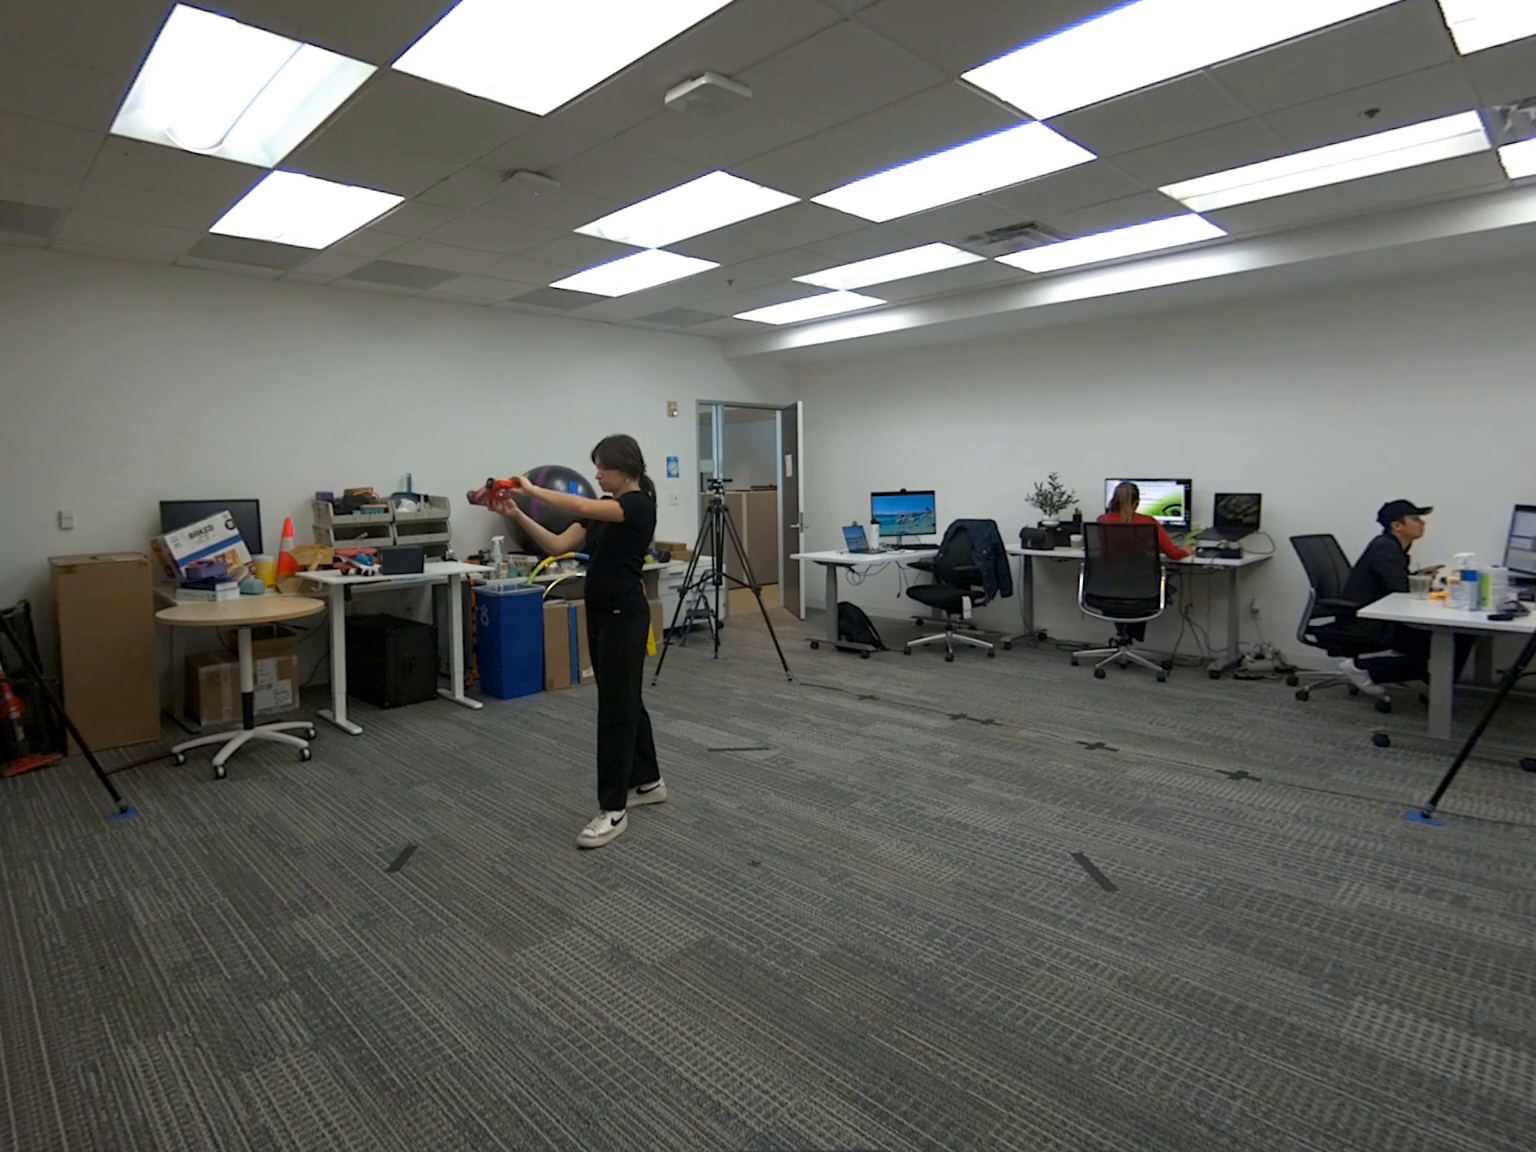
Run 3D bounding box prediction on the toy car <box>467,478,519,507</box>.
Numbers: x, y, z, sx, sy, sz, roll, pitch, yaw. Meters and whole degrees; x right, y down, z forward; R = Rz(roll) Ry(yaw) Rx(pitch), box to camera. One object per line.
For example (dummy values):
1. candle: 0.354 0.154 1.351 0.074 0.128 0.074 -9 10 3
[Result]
1. toy car: -1.084 -0.339 3.390 0.261 0.084 0.126 -7 -8 41
